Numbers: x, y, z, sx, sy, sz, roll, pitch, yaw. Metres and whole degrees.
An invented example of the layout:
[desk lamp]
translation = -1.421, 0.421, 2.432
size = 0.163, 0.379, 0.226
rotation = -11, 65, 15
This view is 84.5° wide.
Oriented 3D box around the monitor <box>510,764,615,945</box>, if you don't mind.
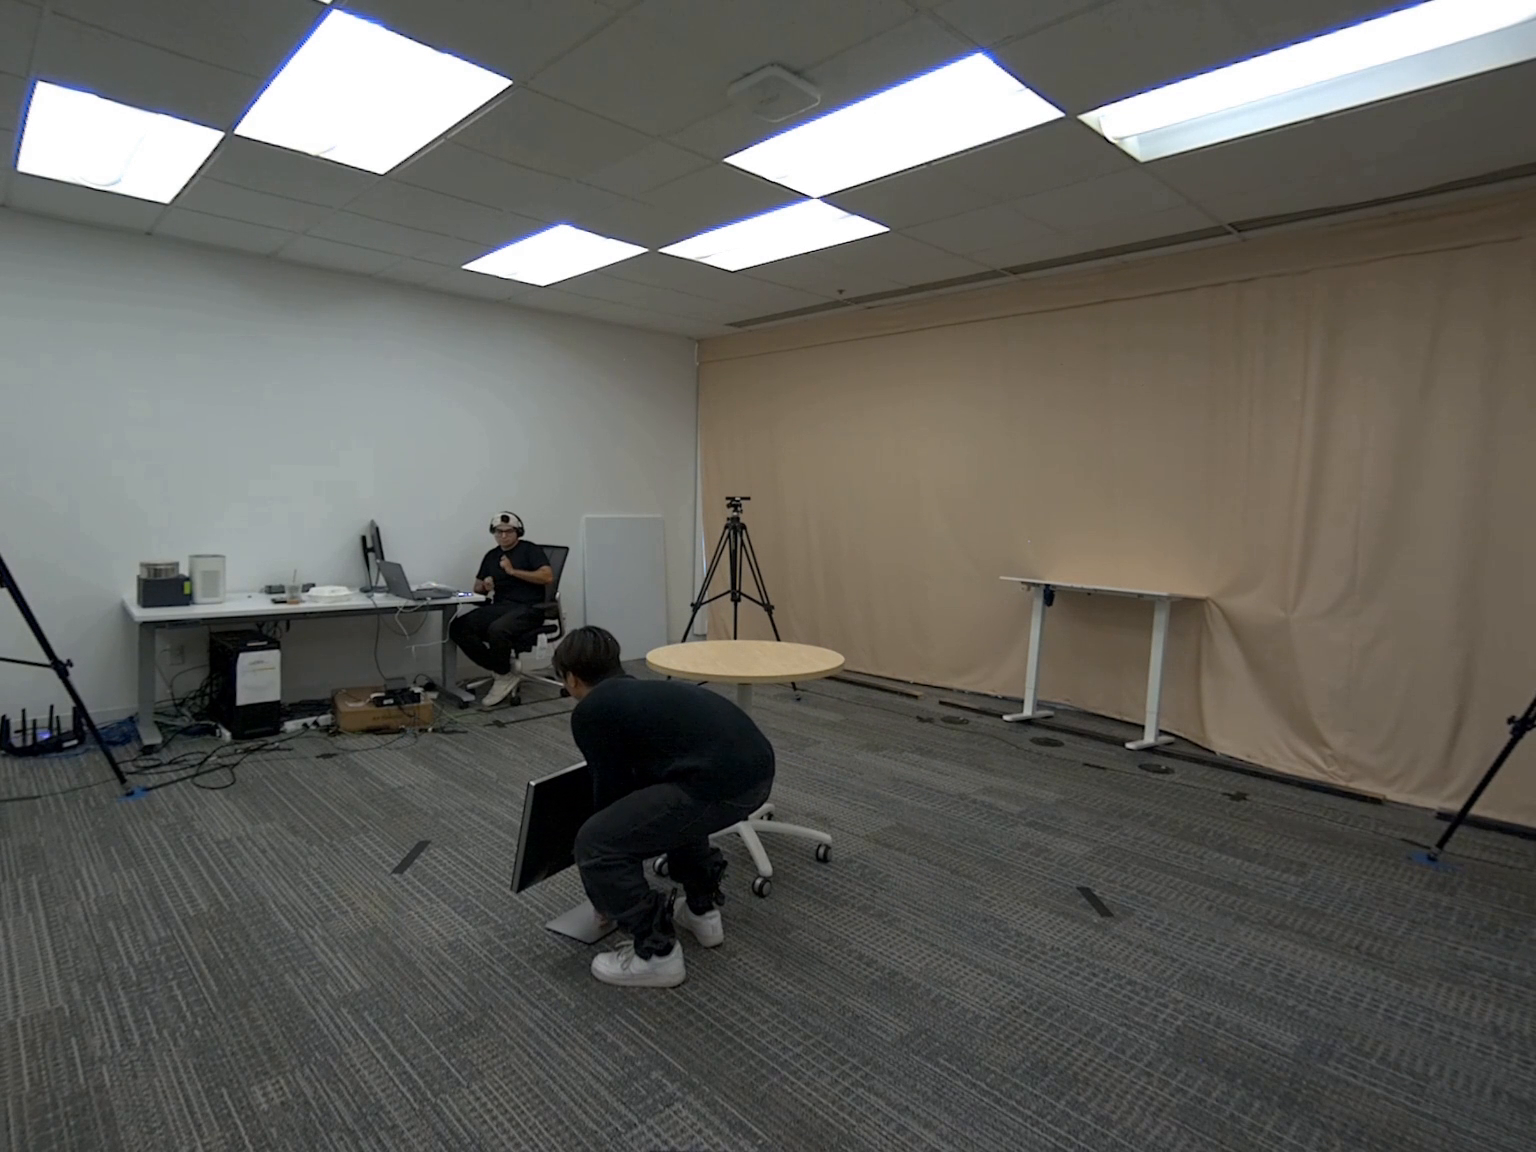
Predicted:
[monitor]
translation = -0.564, 0.863, 2.730
size = 0.191, 0.521, 0.528
rotation = 2, 4, 31
